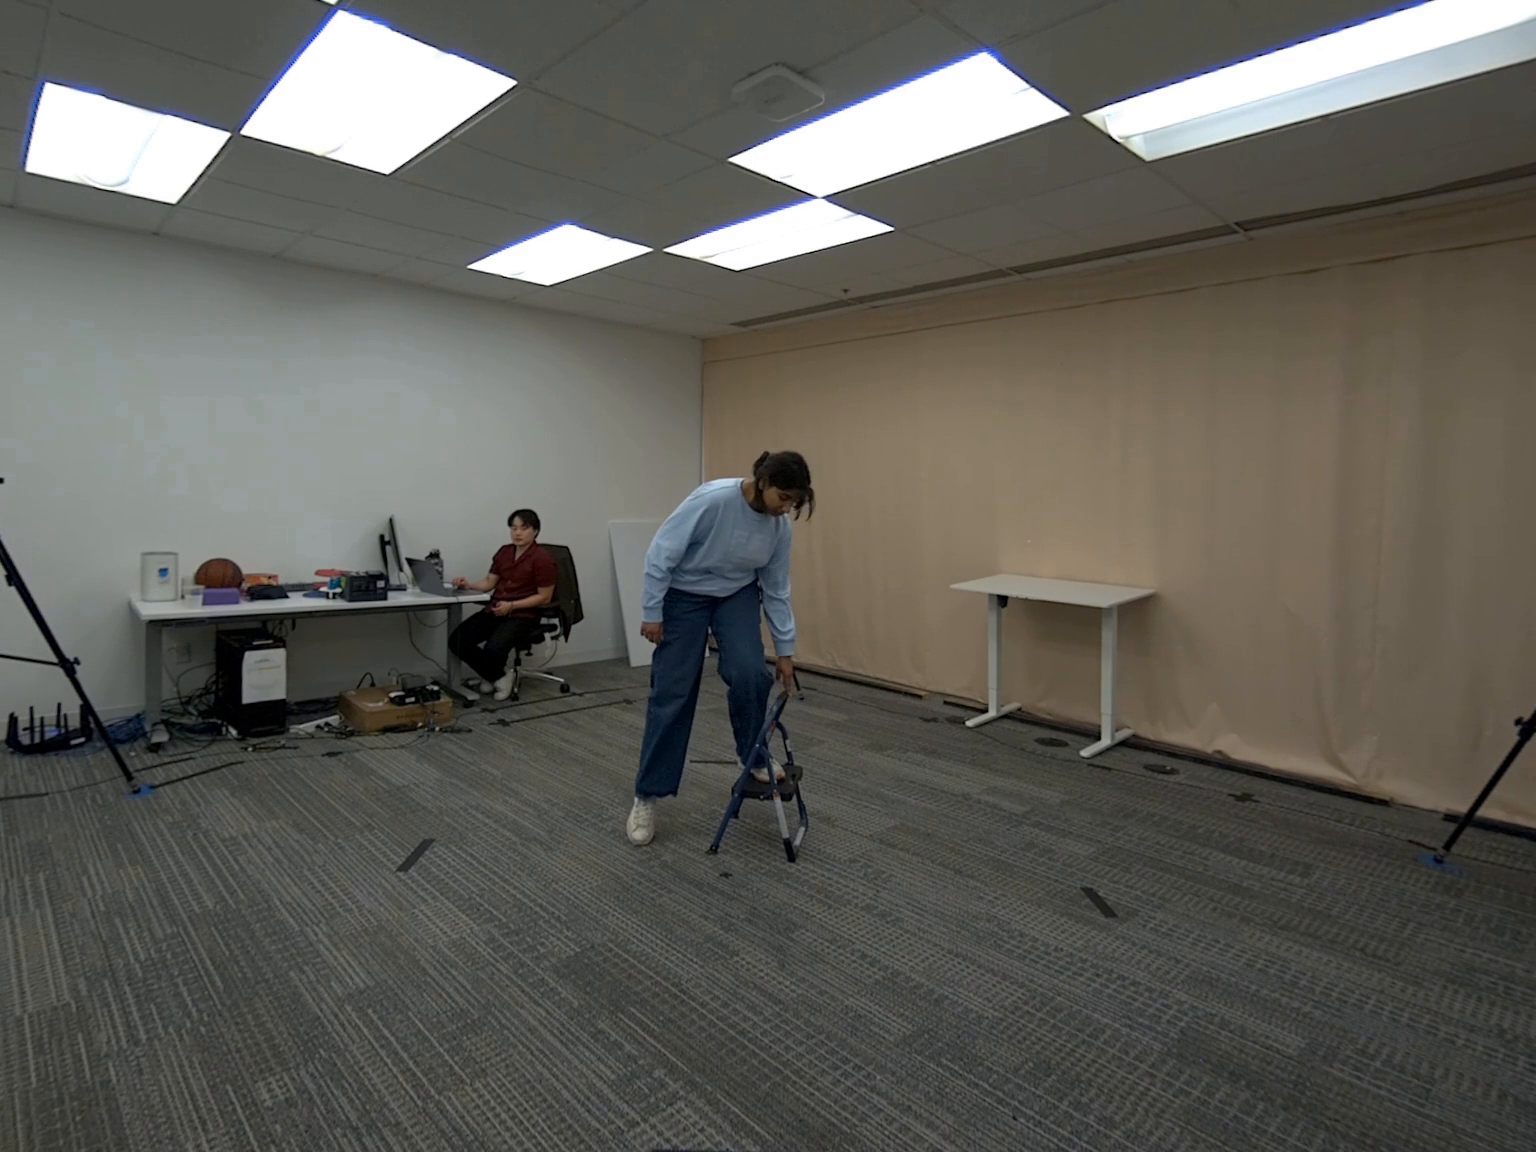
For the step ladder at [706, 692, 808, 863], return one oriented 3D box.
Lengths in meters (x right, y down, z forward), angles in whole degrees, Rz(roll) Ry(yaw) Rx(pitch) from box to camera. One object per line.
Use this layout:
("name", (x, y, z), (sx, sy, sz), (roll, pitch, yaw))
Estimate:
("step ladder", (-0.028, 0.778, 3.439), (0.352, 0.605, 0.428), (2, 4, 10))
